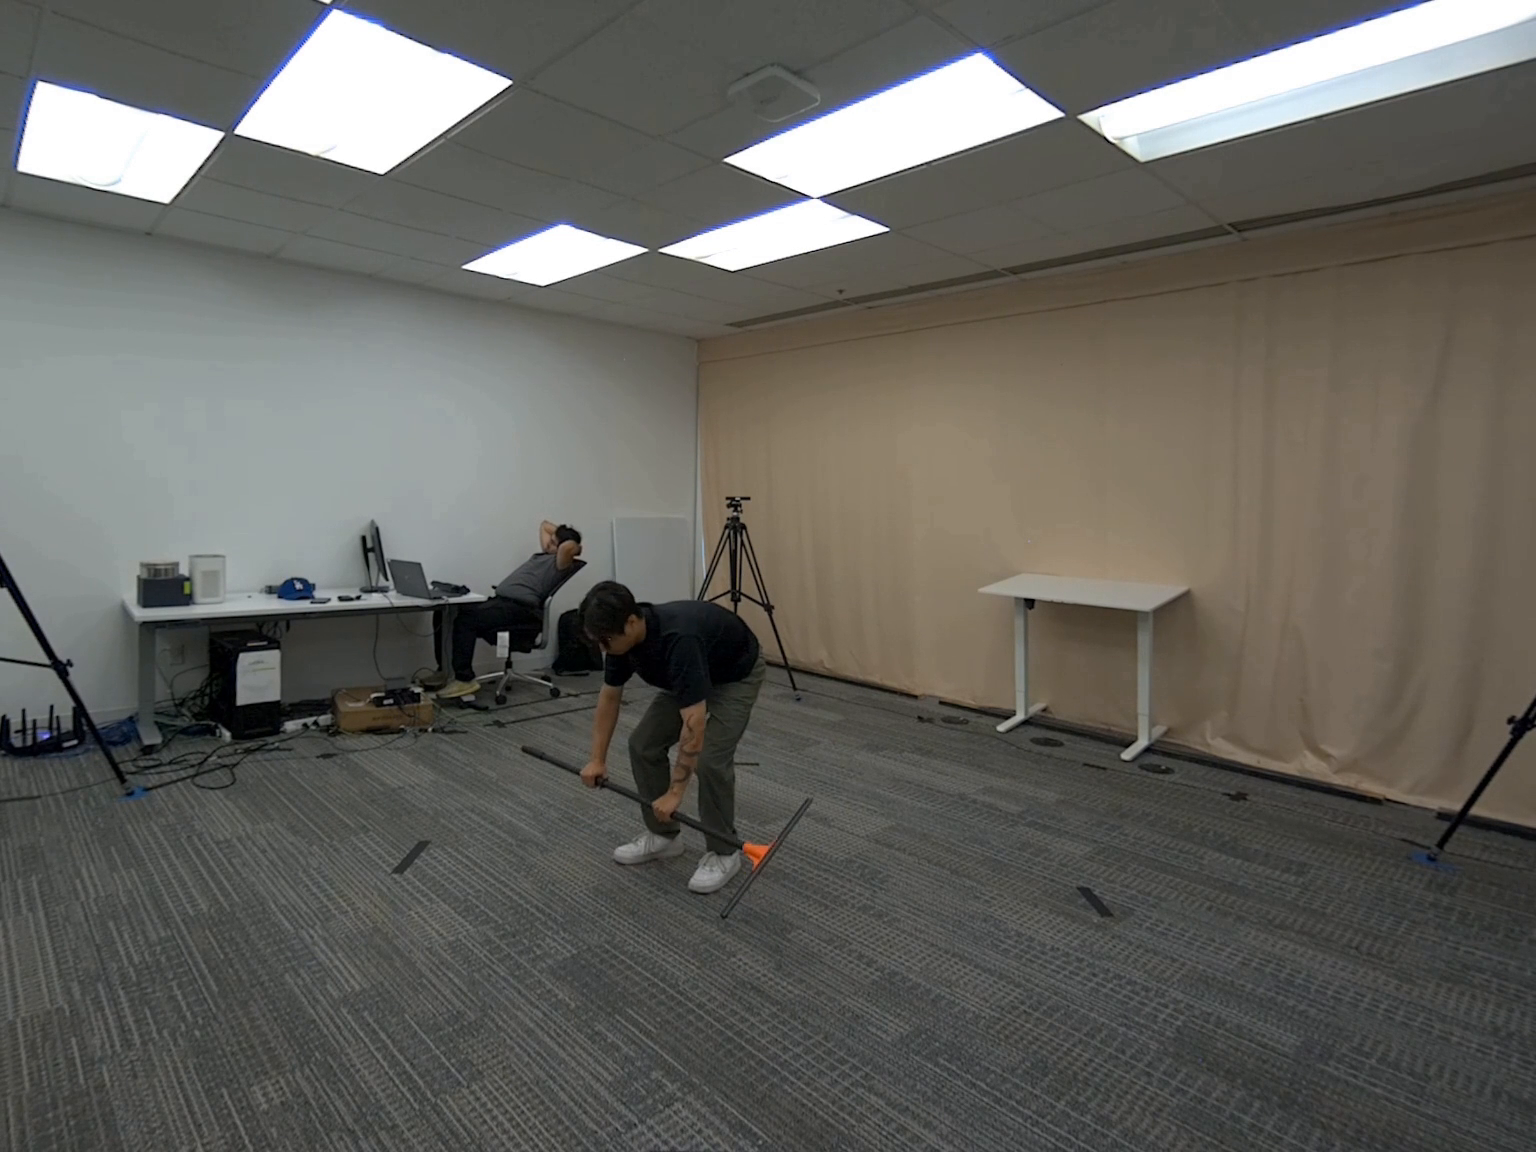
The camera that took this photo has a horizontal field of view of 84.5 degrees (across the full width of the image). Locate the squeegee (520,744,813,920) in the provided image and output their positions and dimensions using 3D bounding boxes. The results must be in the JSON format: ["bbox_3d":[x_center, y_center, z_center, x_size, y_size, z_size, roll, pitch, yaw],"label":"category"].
[{"bbox_3d":[-0.514,0.770,3.004,1.576,0.052,0.437,4,41,47],"label":"squeegee"}]
